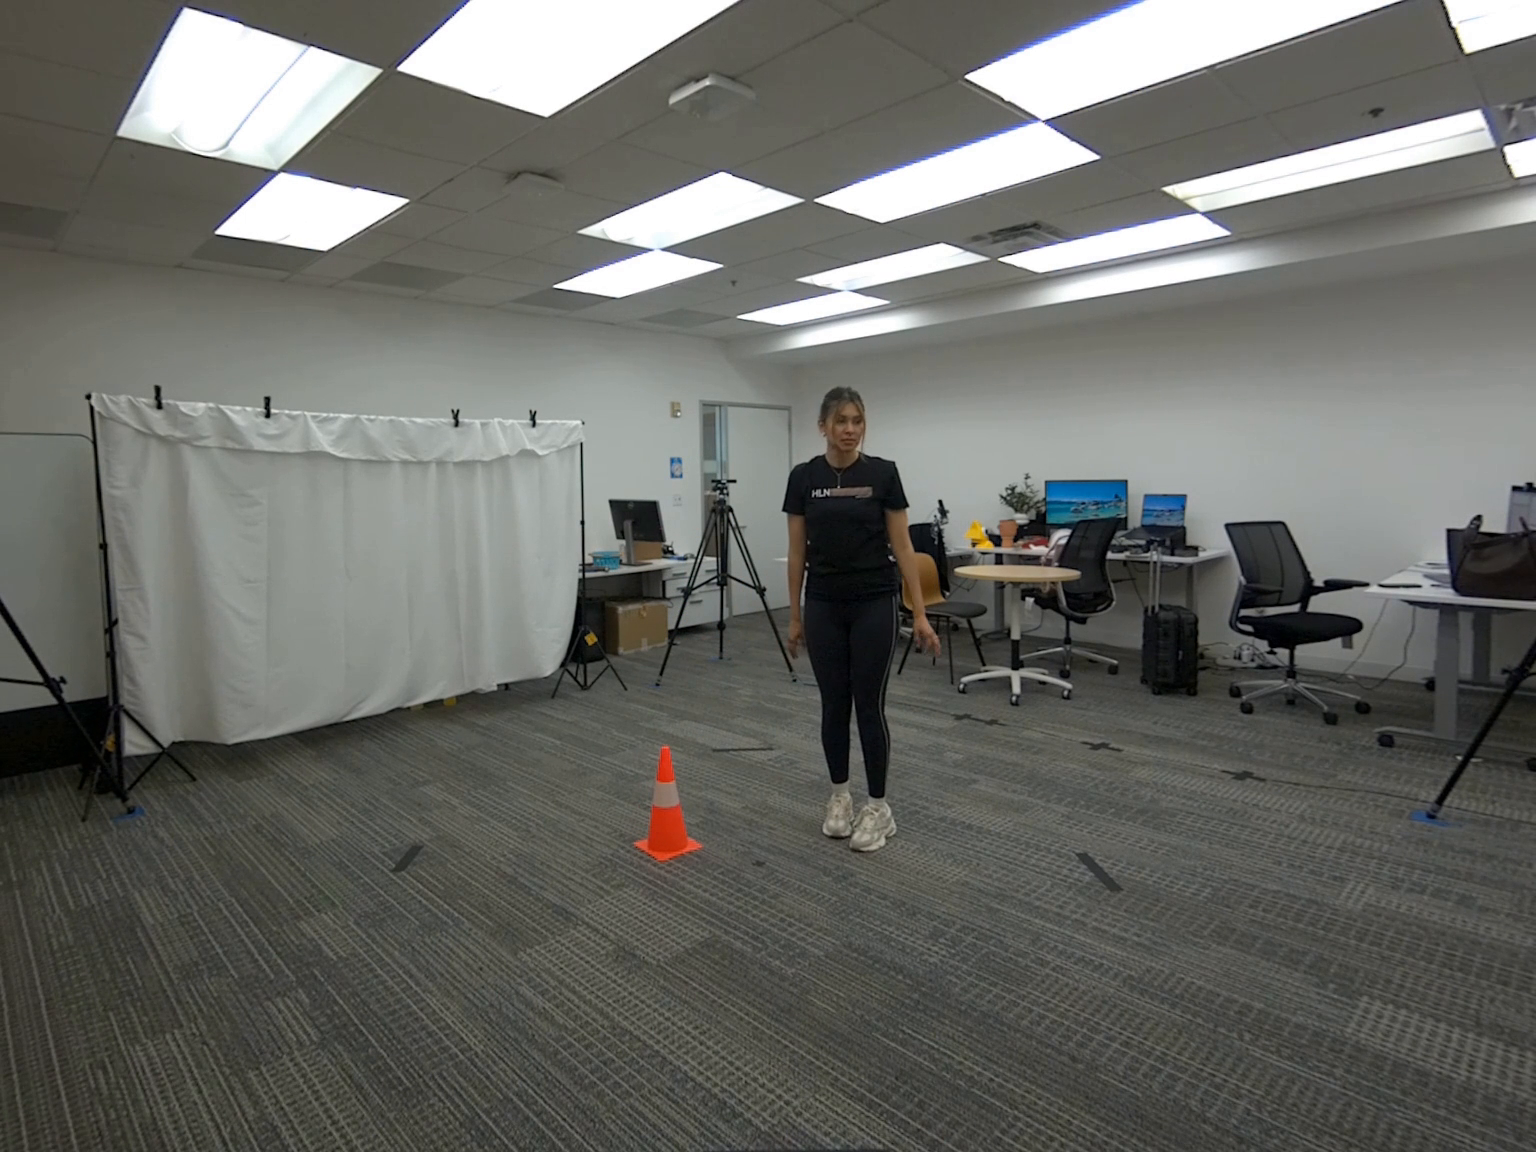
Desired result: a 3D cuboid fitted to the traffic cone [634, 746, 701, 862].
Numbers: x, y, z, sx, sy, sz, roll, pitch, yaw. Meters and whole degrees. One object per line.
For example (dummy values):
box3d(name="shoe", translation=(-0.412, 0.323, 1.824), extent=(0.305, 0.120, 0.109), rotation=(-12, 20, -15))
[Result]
box3d(name="traffic cone", translation=(-0.382, 0.853, 3.266), extent=(0.200, 0.383, 0.209), rotation=(-3, 4, -35))
